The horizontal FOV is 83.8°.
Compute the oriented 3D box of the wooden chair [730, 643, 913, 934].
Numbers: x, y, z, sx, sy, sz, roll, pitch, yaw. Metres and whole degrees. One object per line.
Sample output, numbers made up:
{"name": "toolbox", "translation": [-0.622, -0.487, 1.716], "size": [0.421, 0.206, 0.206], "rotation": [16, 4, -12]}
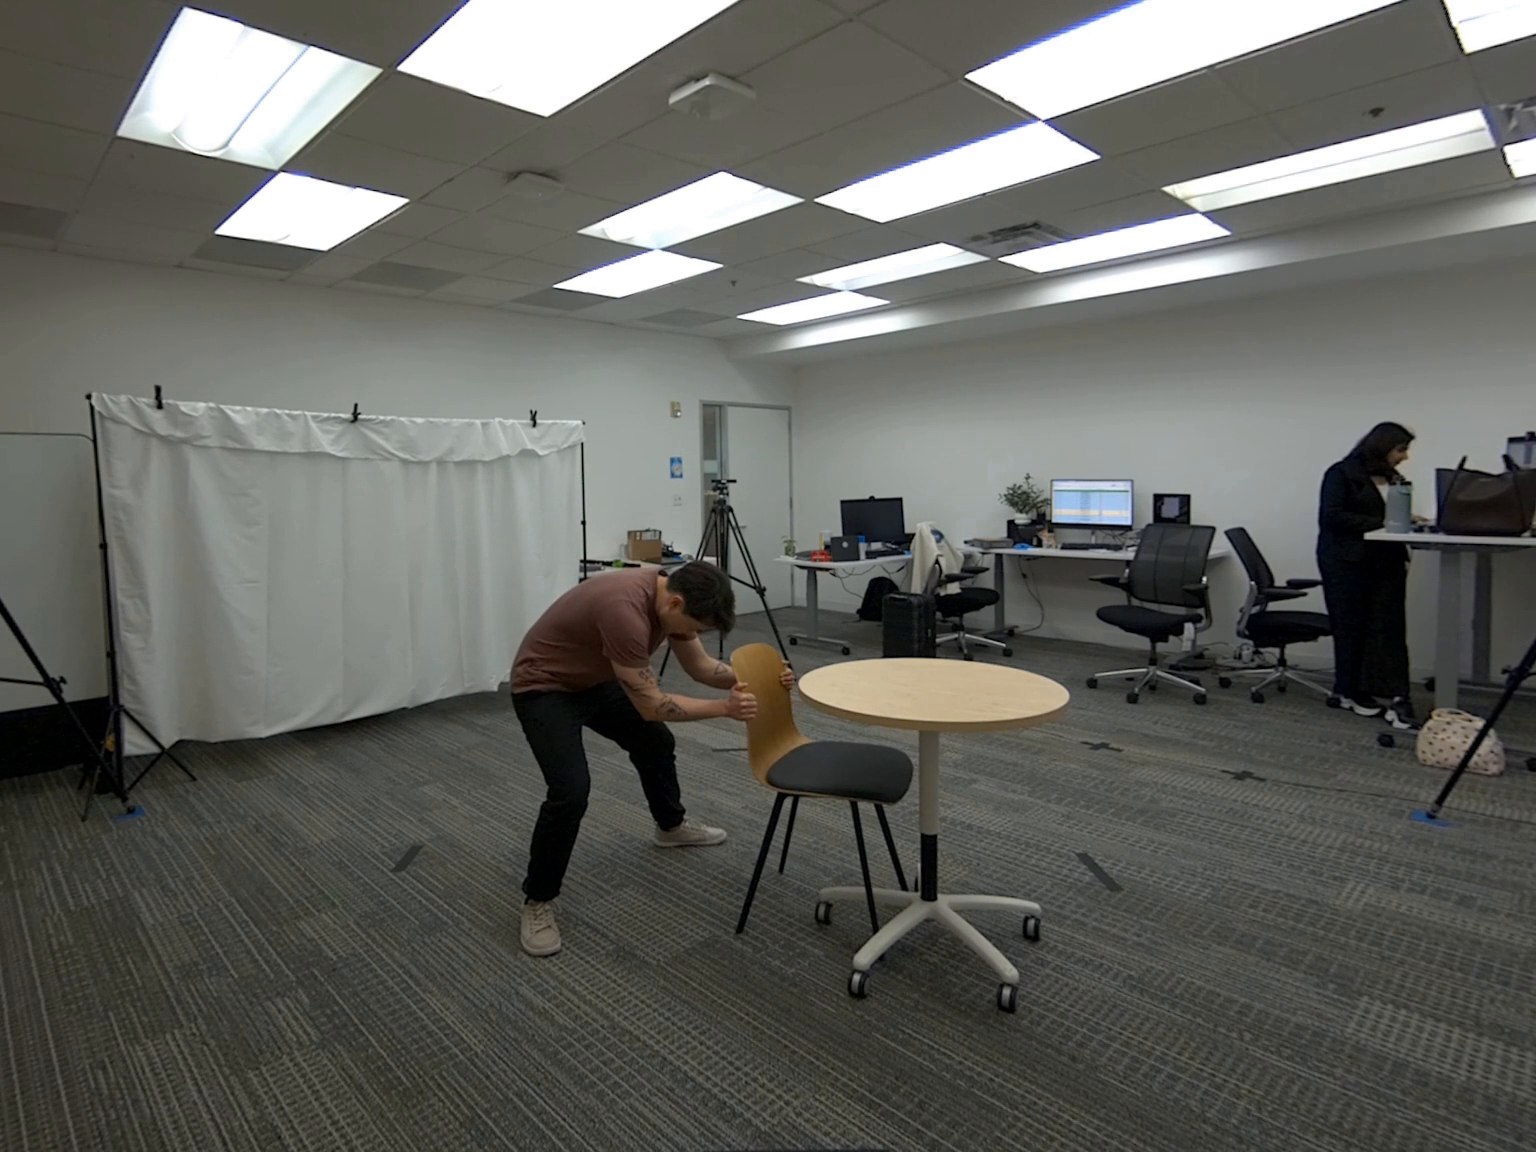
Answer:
{"name": "wooden chair", "translation": [0.184, 0.656, 2.724], "size": [0.533, 0.876, 0.470], "rotation": [-4, 2, 21]}
